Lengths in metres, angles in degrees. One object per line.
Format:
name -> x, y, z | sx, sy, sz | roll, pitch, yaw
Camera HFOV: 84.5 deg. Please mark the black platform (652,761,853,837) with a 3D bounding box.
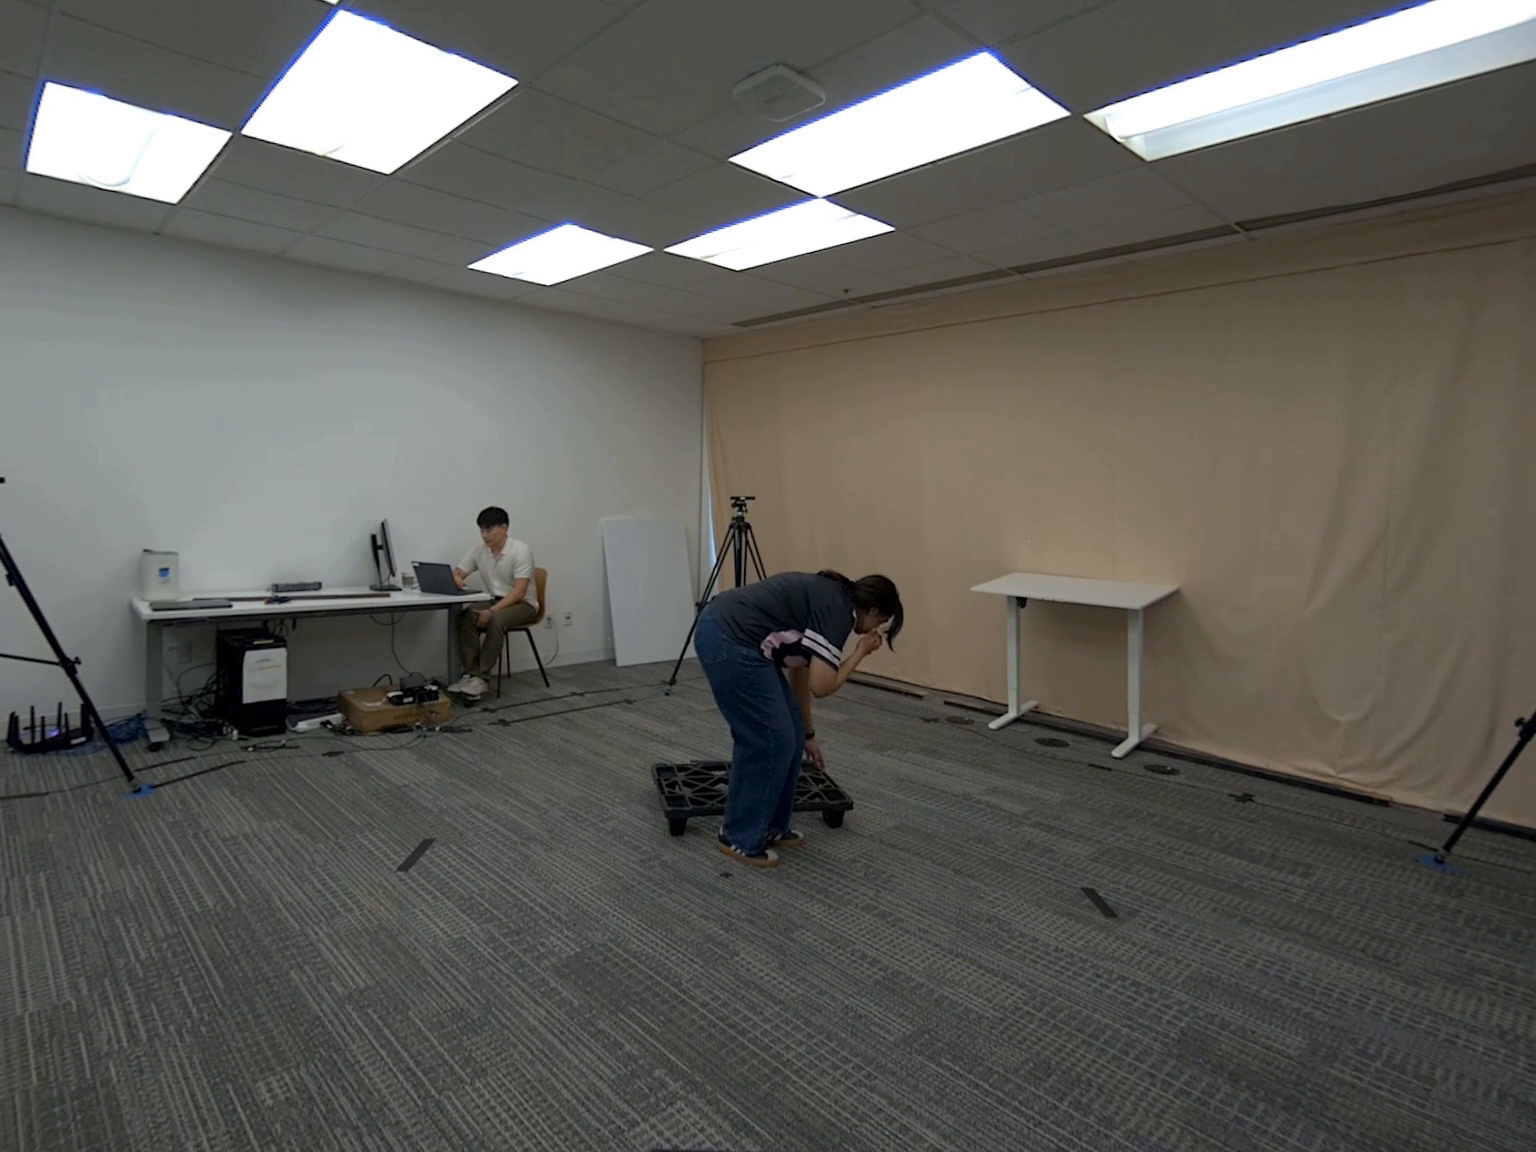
black platform -> -0.098, 0.984, 3.750 | 0.798, 0.143, 0.613 | 0, 6, -12
